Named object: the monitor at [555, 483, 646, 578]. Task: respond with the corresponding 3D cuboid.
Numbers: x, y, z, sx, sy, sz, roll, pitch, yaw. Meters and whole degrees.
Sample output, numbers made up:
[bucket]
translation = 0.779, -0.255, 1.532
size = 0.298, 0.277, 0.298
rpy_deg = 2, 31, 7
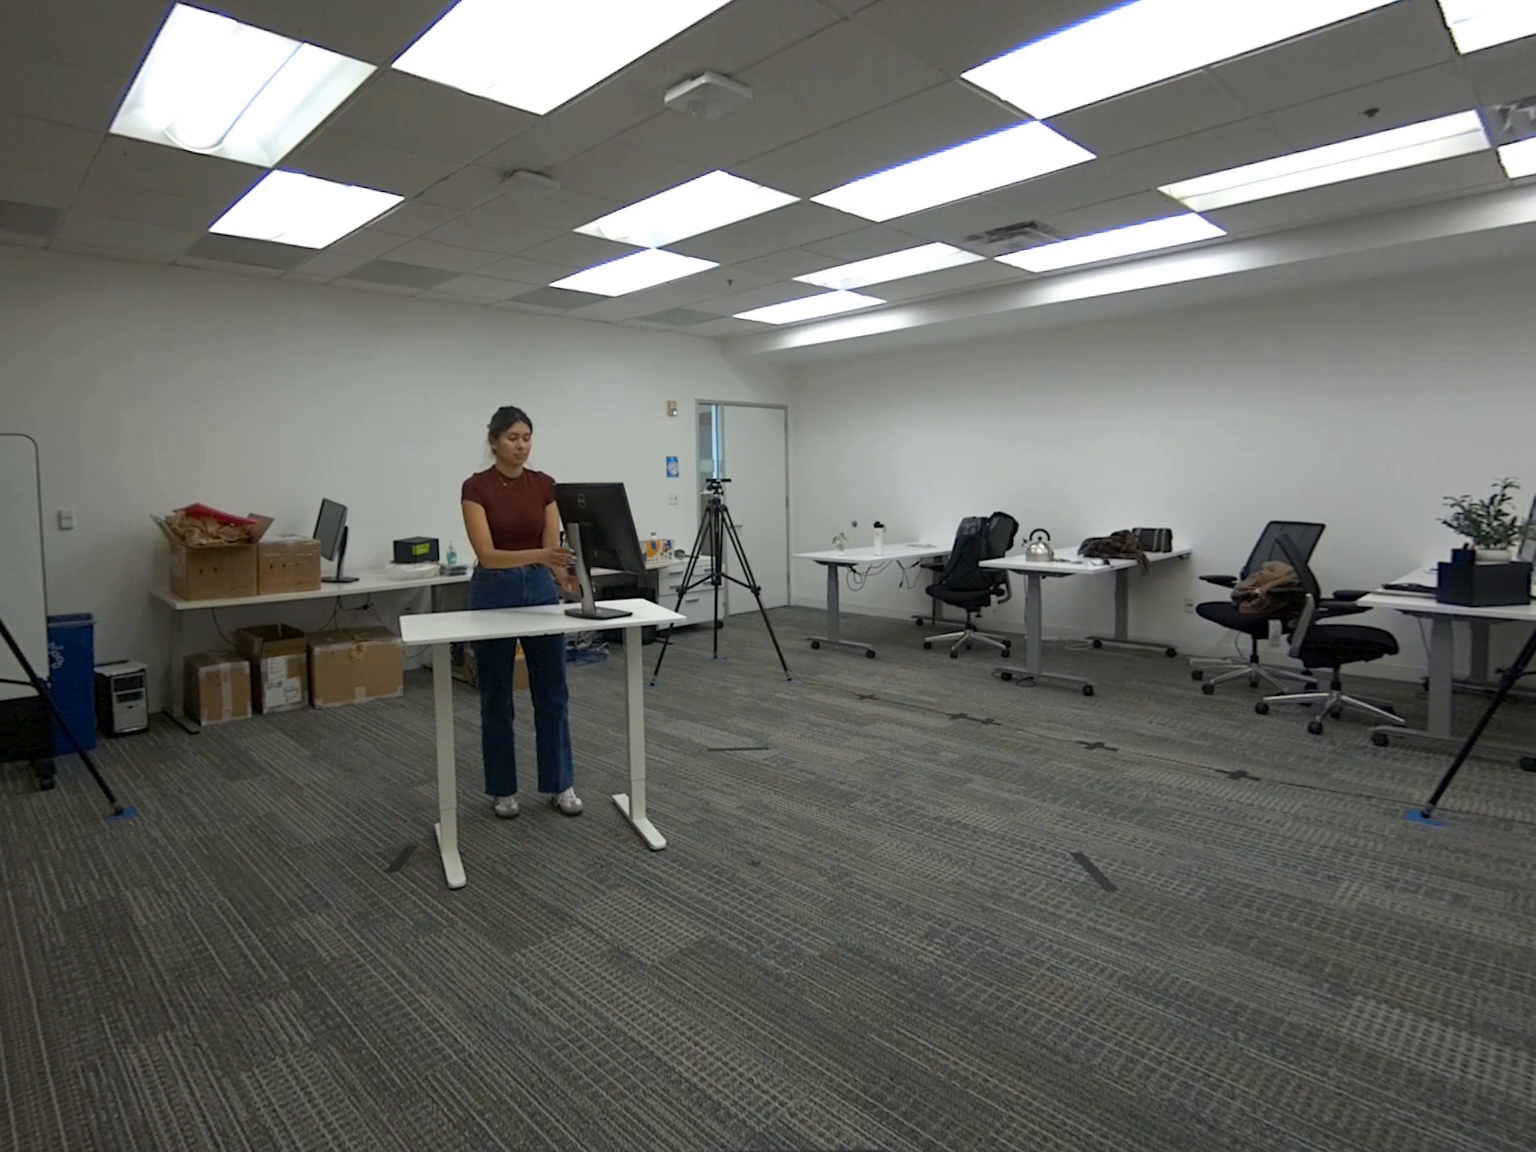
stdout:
[monitor]
translation = -0.681, -0.099, 3.304
size = 0.182, 0.520, 0.556
rpy_deg = -7, 8, -41
